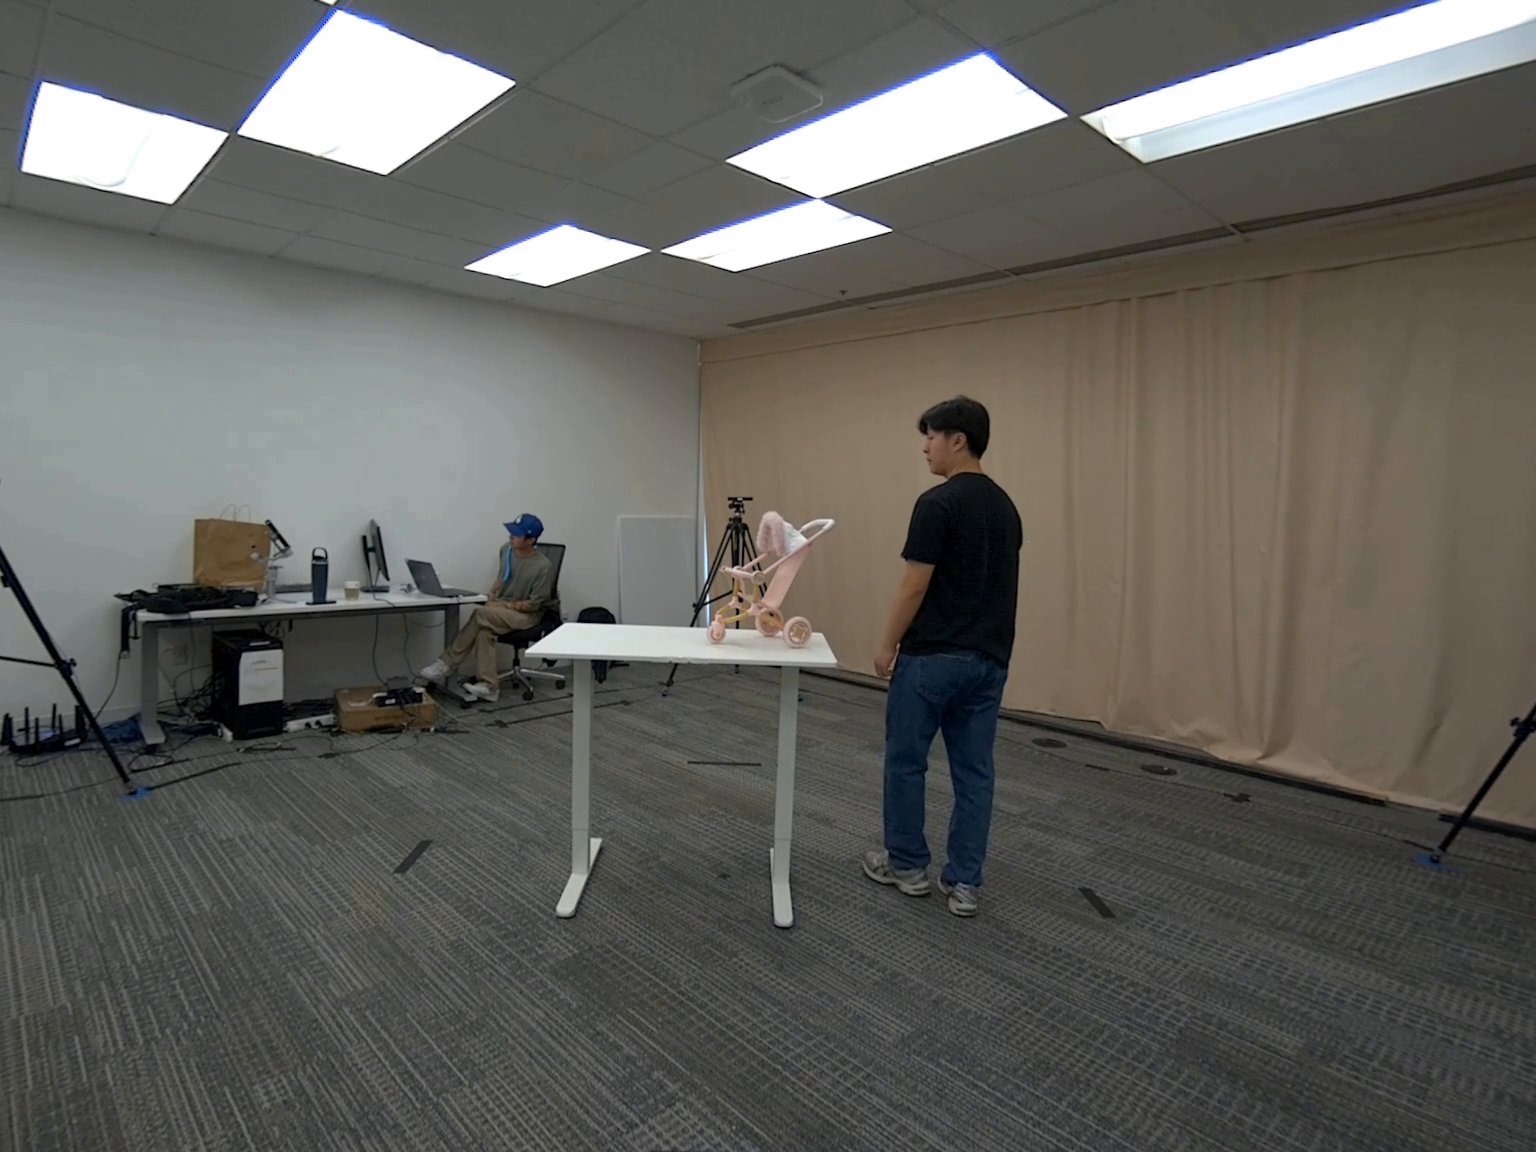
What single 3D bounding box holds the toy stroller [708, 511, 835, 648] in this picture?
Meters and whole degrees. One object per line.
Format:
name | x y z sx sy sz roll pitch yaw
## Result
toy stroller | -0.010 0.013 2.992 0.336 0.535 0.285 15 -1 -16
